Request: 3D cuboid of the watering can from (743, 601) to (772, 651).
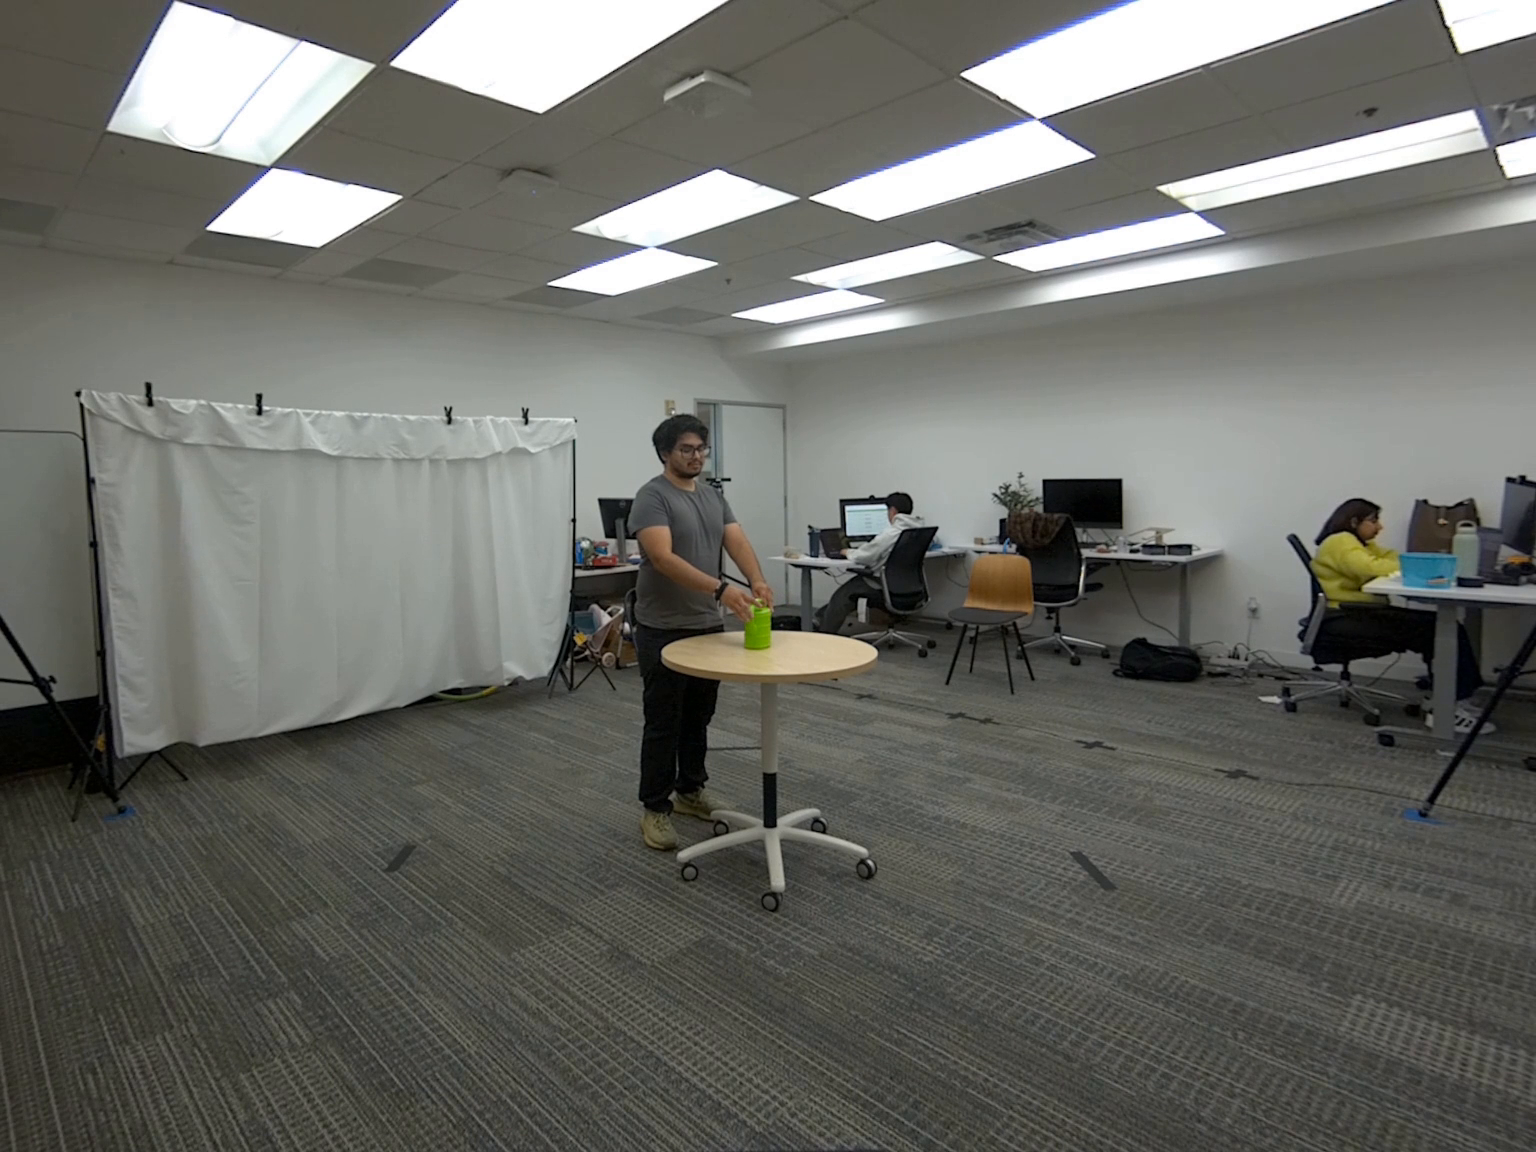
[{"bbox_3d":[-0.019,0.168,3.150,0.100,0.176,0.273,-2,8,26],"label":"watering can"}]
